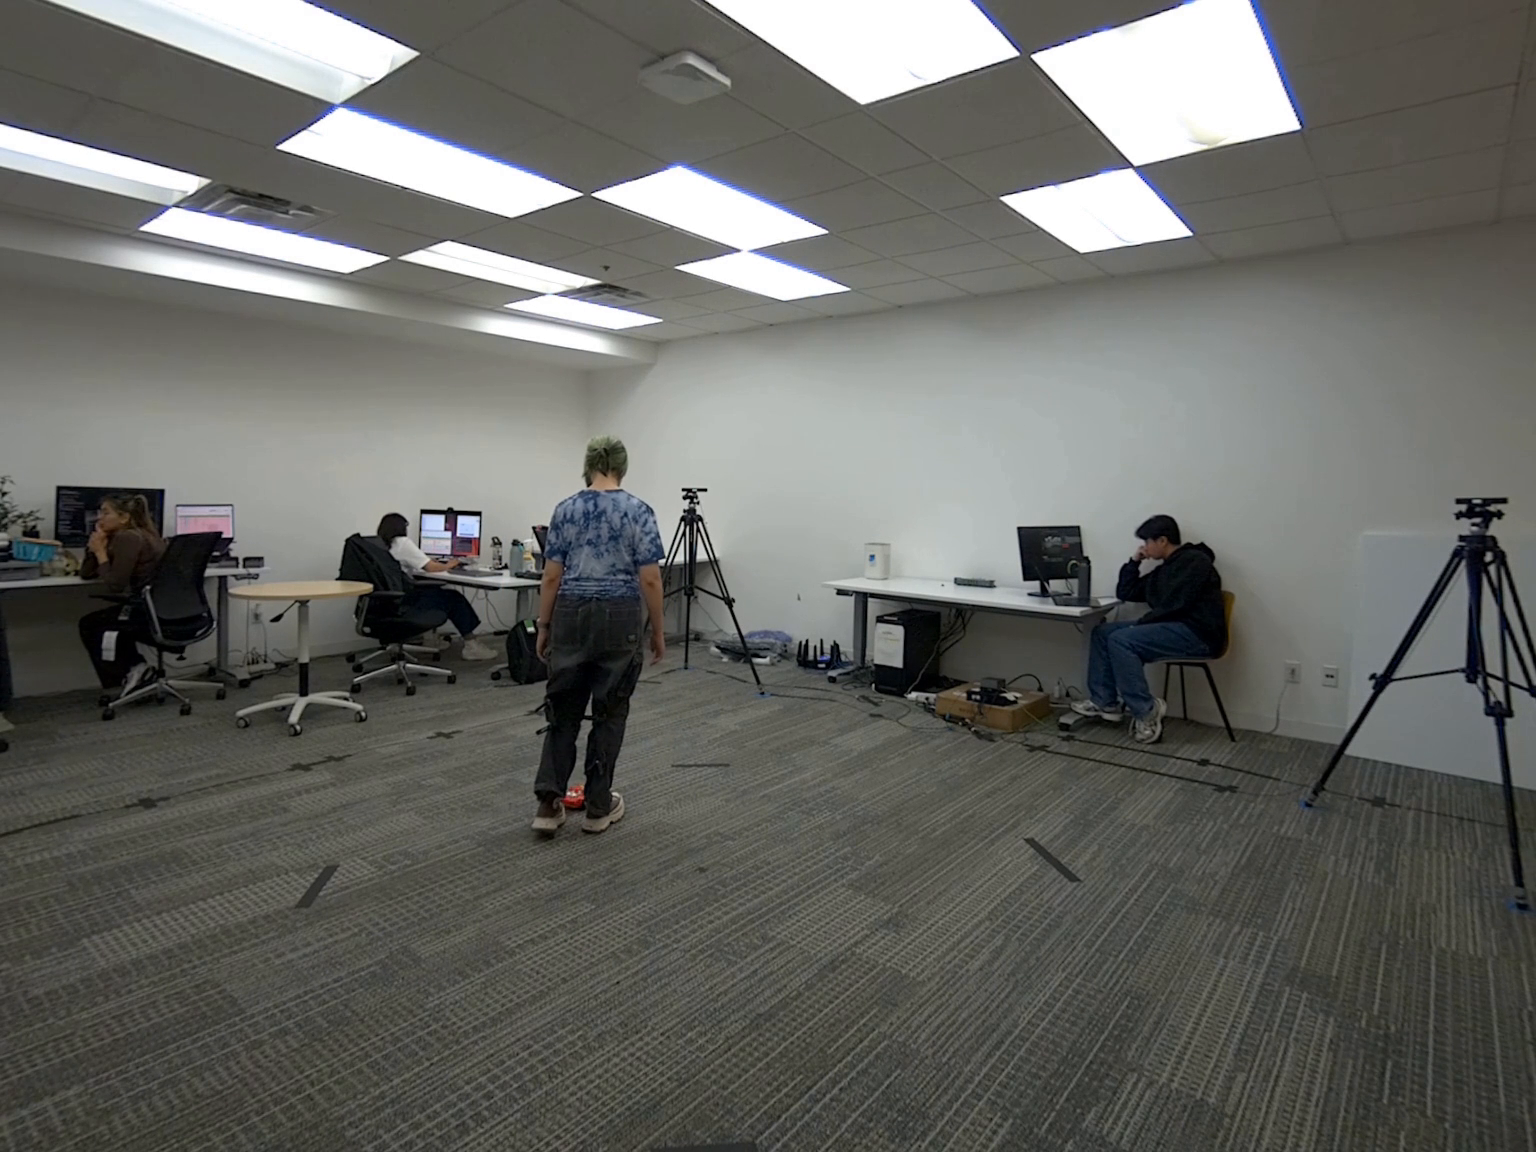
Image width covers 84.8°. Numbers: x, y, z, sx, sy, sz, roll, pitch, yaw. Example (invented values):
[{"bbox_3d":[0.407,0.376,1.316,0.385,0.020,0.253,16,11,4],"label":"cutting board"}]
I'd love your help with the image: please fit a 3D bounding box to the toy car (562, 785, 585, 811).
[{"bbox_3d":[-0.828,0.966,3.750,0.134,0.083,0.246,3,-5,27],"label":"toy car"}]
